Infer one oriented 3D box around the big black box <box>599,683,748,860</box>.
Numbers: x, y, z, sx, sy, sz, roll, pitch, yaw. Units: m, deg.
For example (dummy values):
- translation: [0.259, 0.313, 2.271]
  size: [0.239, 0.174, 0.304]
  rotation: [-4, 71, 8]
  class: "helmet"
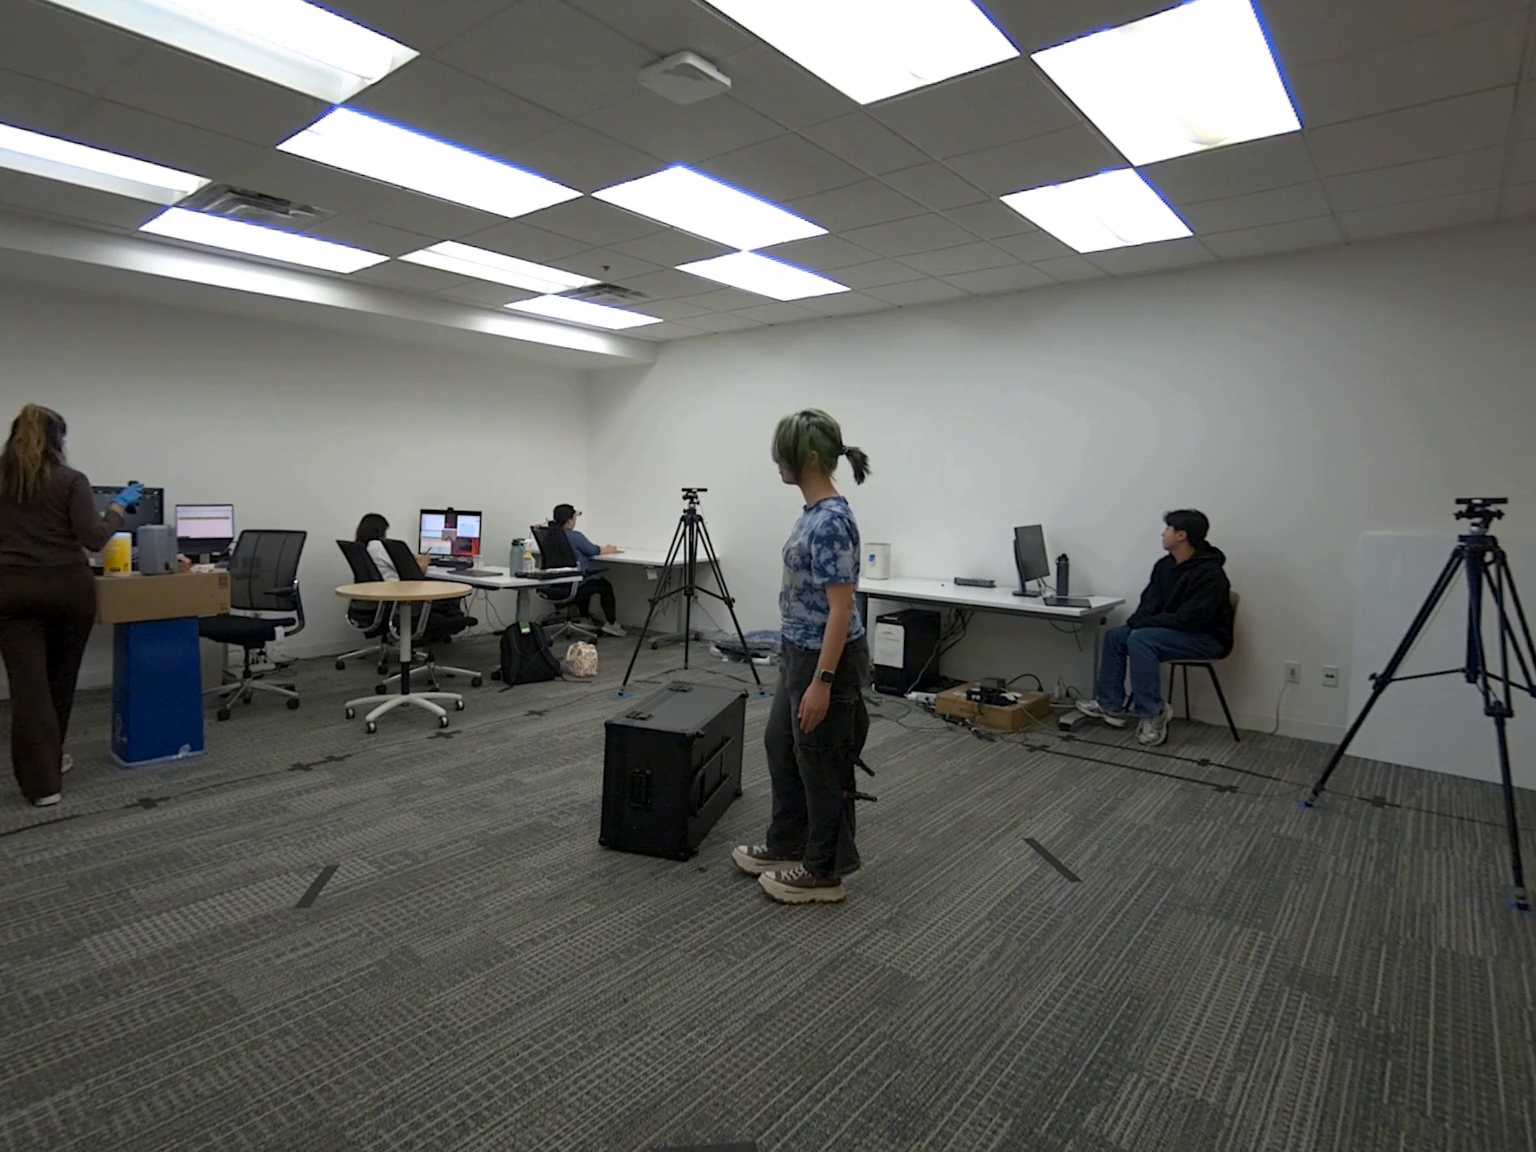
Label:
- translation: [-0.358, 0.764, 3.594]
  size: [0.403, 0.519, 0.851]
  rotation: [5, 6, 14]
  class: "big black box"
